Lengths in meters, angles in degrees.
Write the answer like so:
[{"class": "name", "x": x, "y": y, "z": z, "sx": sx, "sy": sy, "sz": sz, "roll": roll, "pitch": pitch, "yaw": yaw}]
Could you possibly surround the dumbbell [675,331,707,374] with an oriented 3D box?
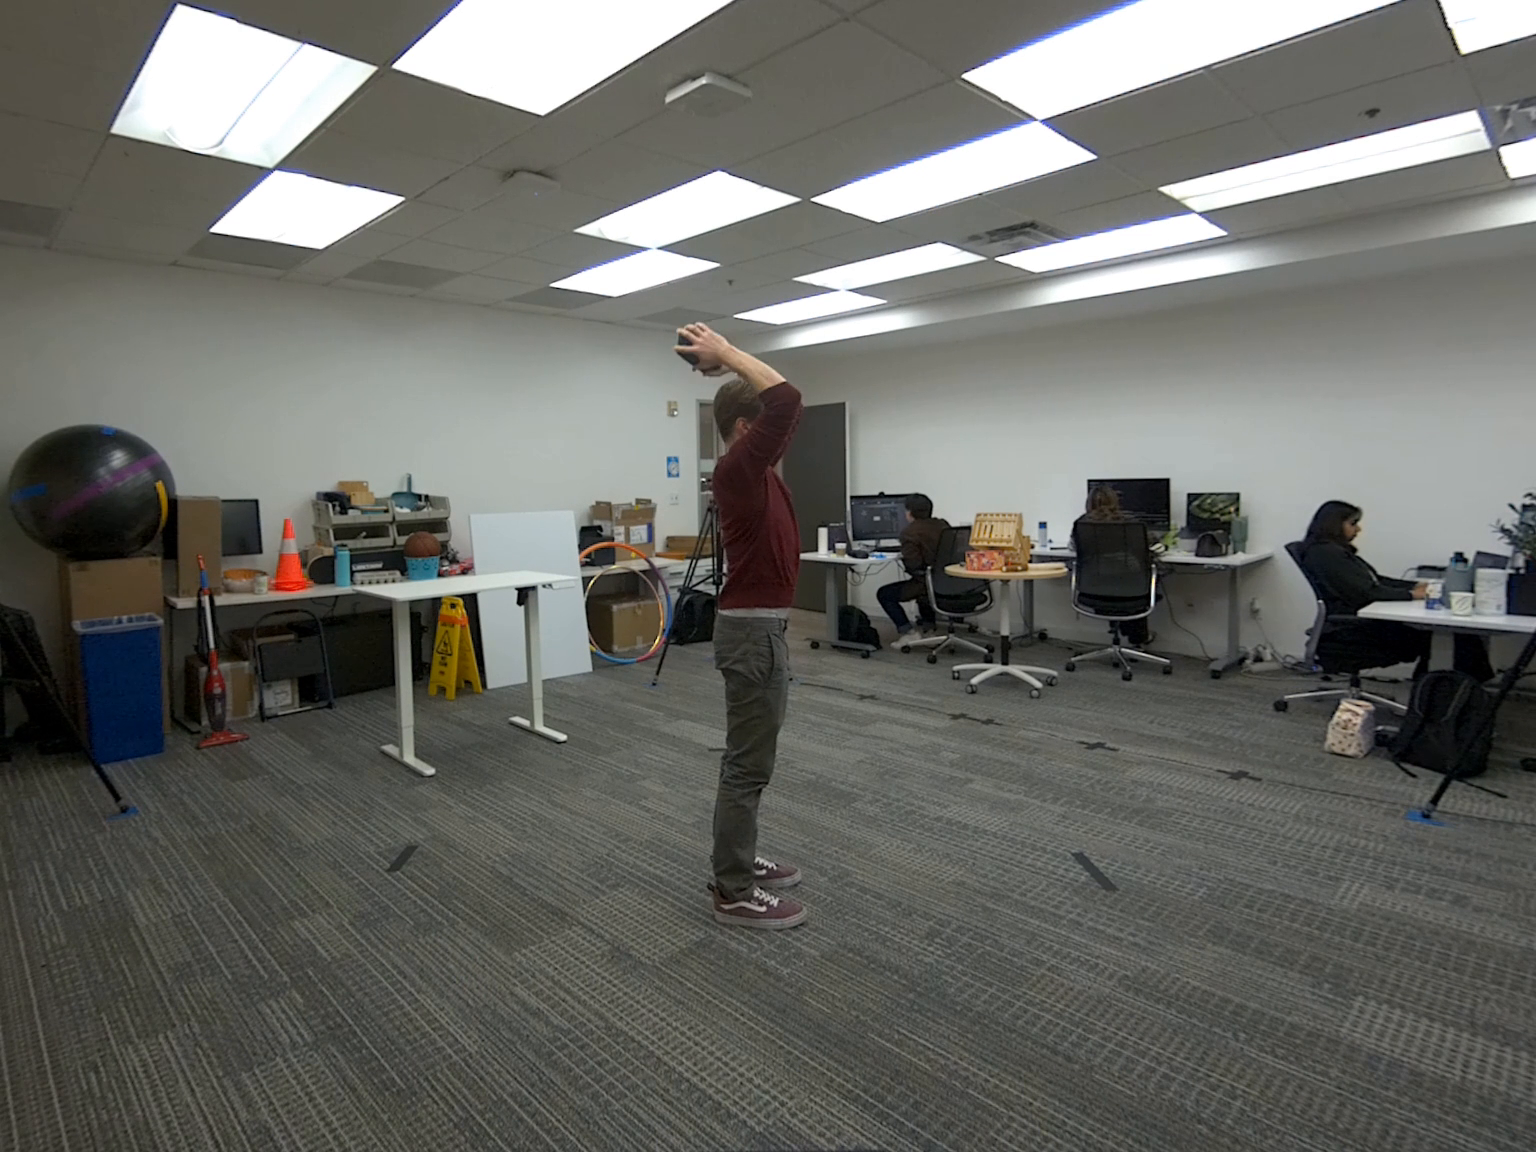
[{"class": "dumbbell", "x": -0.200, "y": -0.726, "z": 2.749, "sx": 0.123, "sy": 0.108, "sz": 0.293, "roll": -24, "pitch": 3, "yaw": 8}]
